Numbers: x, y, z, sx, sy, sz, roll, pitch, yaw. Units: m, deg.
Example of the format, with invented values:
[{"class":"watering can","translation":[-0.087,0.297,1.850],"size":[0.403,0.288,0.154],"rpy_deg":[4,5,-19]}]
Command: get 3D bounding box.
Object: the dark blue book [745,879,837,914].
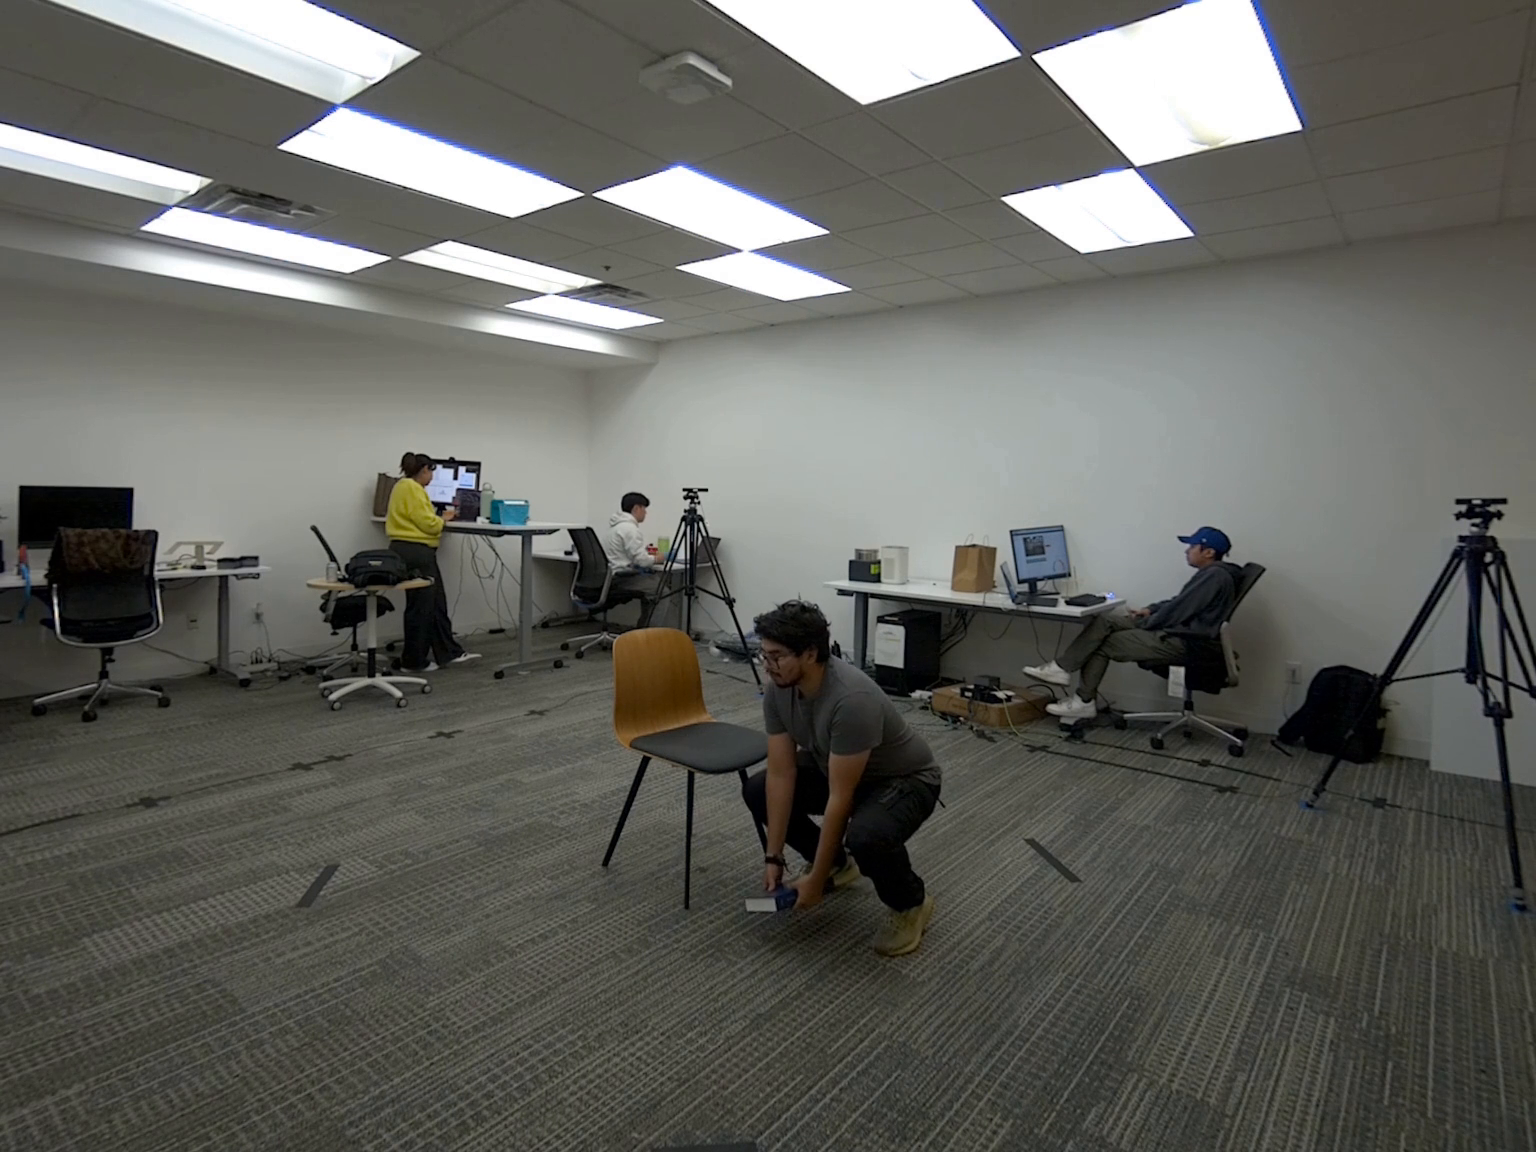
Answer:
[{"class":"dark blue book","translation":[0.058,0.985,2.652],"size":[0.238,0.046,0.165],"rpy_deg":[-8,-14,-38]}]
